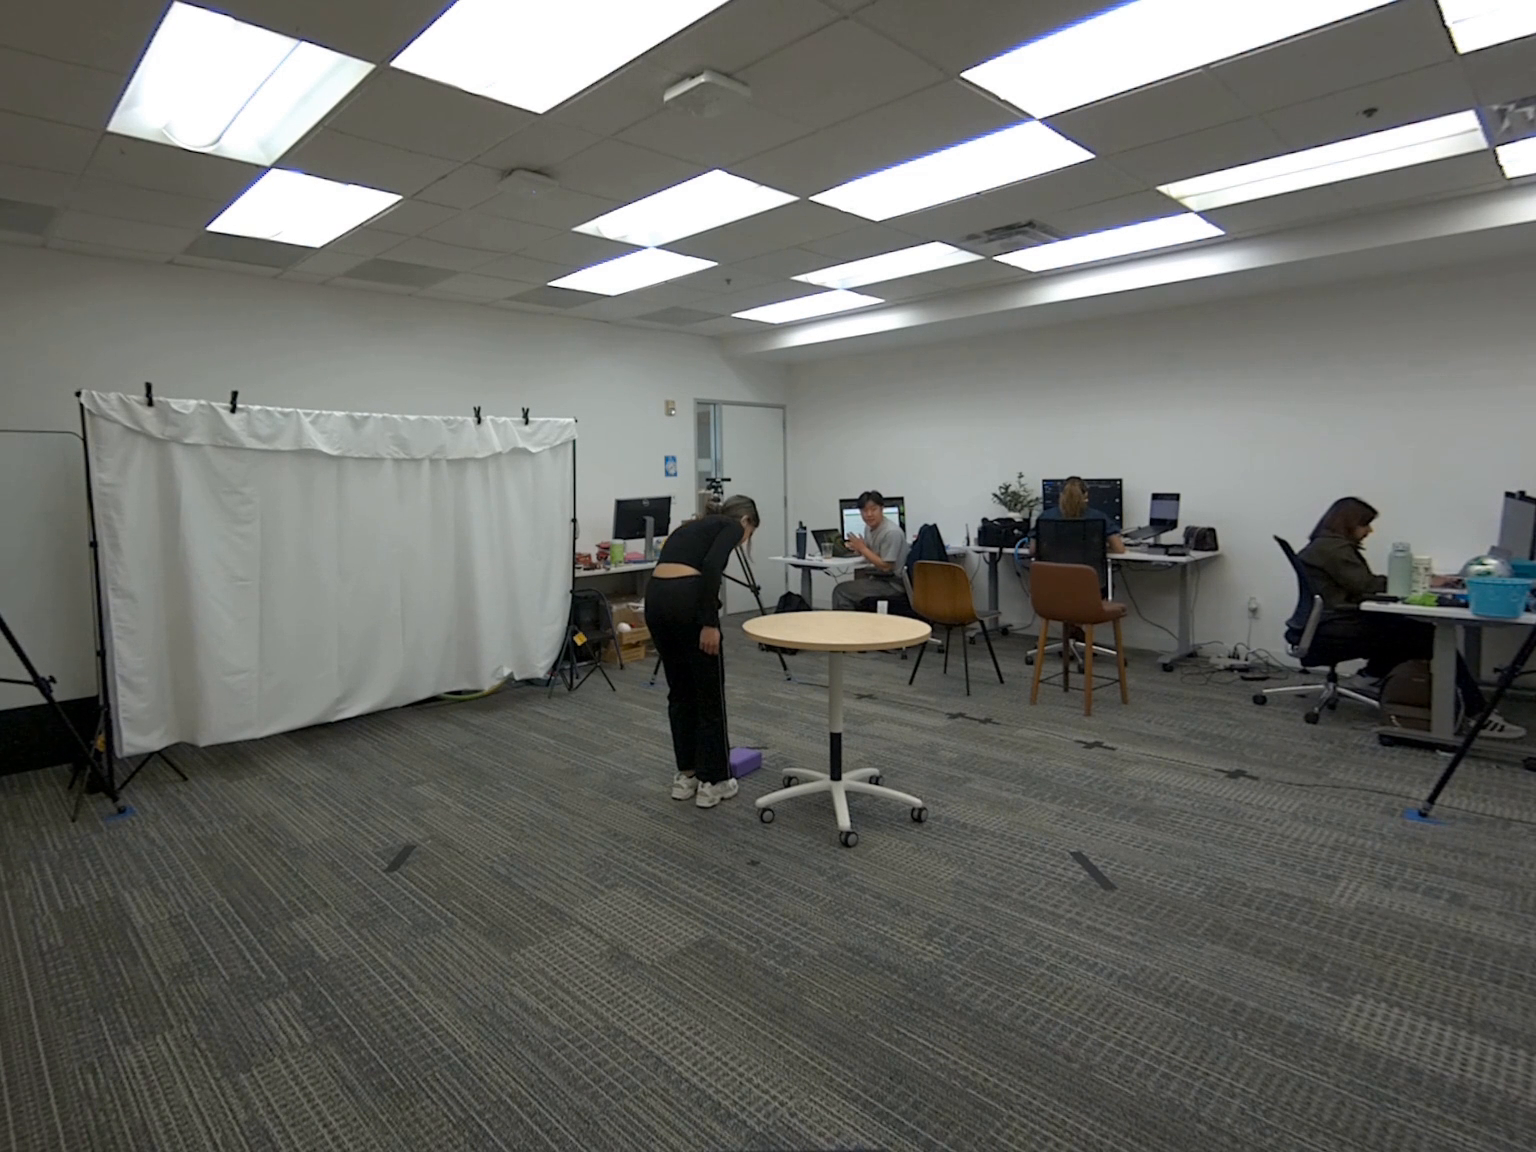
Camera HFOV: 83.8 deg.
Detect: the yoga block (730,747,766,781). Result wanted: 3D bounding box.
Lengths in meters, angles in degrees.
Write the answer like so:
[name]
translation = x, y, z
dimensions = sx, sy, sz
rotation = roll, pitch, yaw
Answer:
[yoga block]
translation = -0.142, 0.895, 4.100
dimensions = 0.153, 0.076, 0.224
rotation = 2, 6, 35
